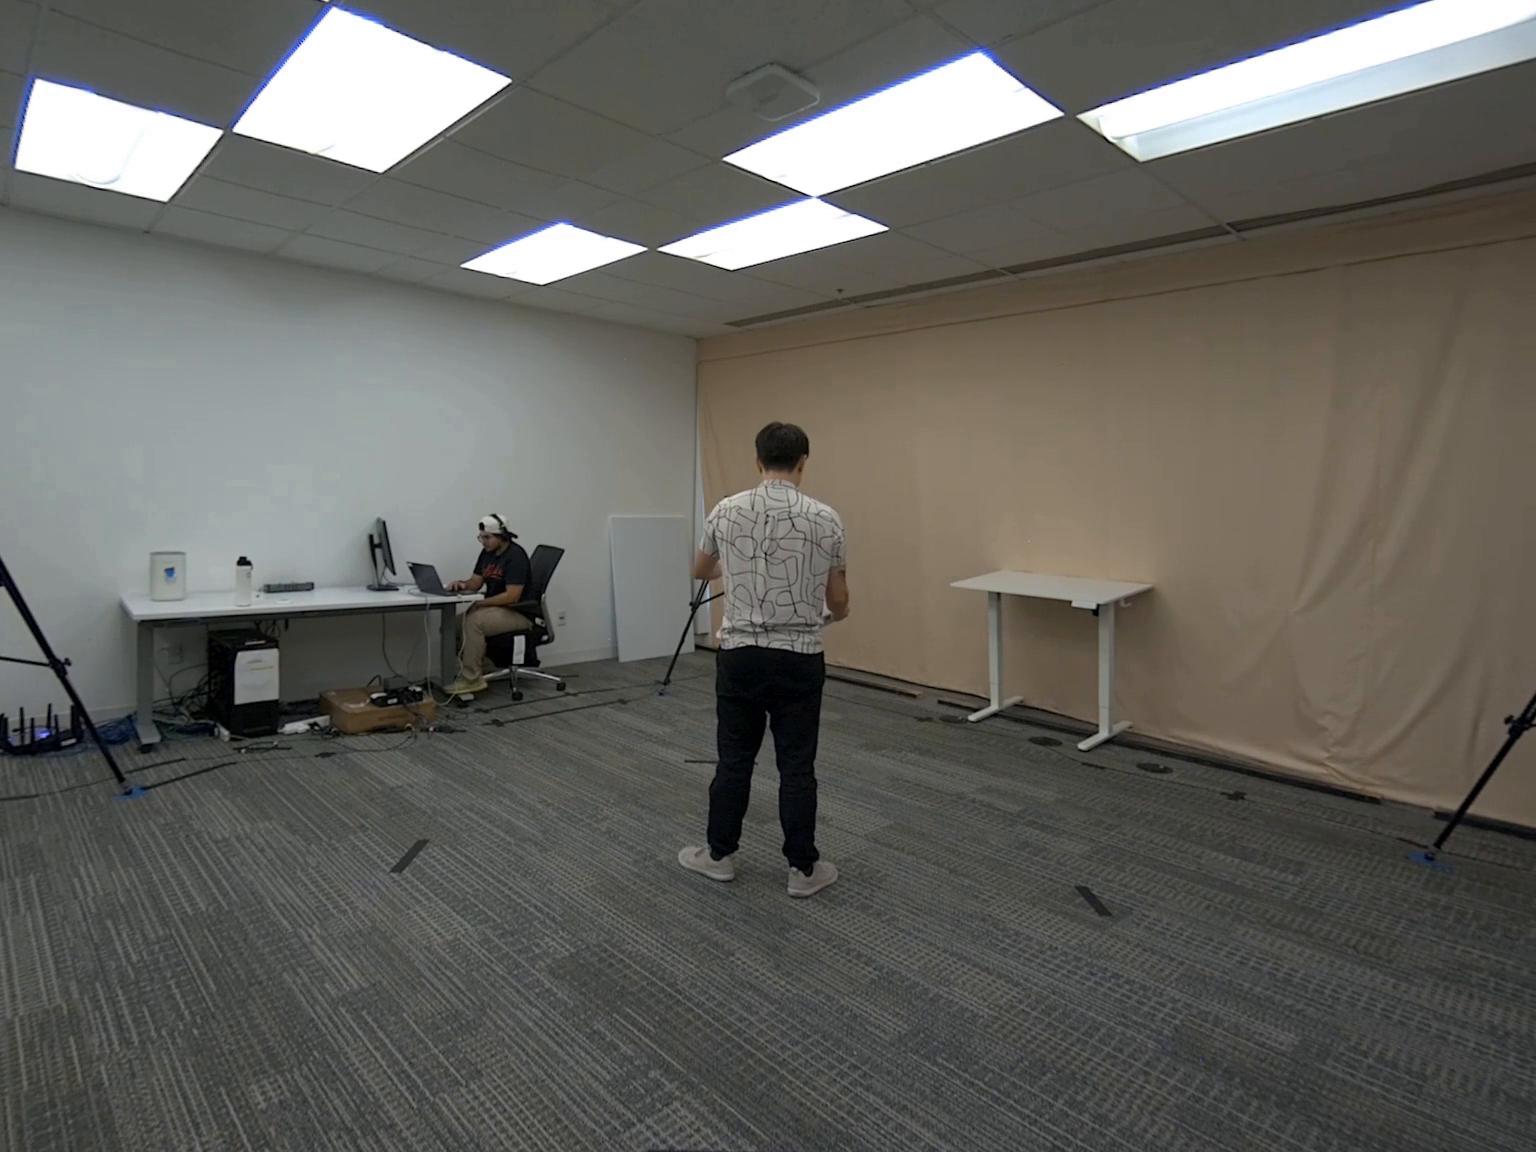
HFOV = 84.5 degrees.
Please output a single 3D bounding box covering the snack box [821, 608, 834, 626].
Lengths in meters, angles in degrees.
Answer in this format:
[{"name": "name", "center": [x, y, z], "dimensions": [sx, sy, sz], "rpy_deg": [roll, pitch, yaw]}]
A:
[{"name": "snack box", "center": [0.068, 0.054, 3.521], "dimensions": [0.340, 0.412, 0.202], "rpy_deg": [-25, -17, -3]}]
